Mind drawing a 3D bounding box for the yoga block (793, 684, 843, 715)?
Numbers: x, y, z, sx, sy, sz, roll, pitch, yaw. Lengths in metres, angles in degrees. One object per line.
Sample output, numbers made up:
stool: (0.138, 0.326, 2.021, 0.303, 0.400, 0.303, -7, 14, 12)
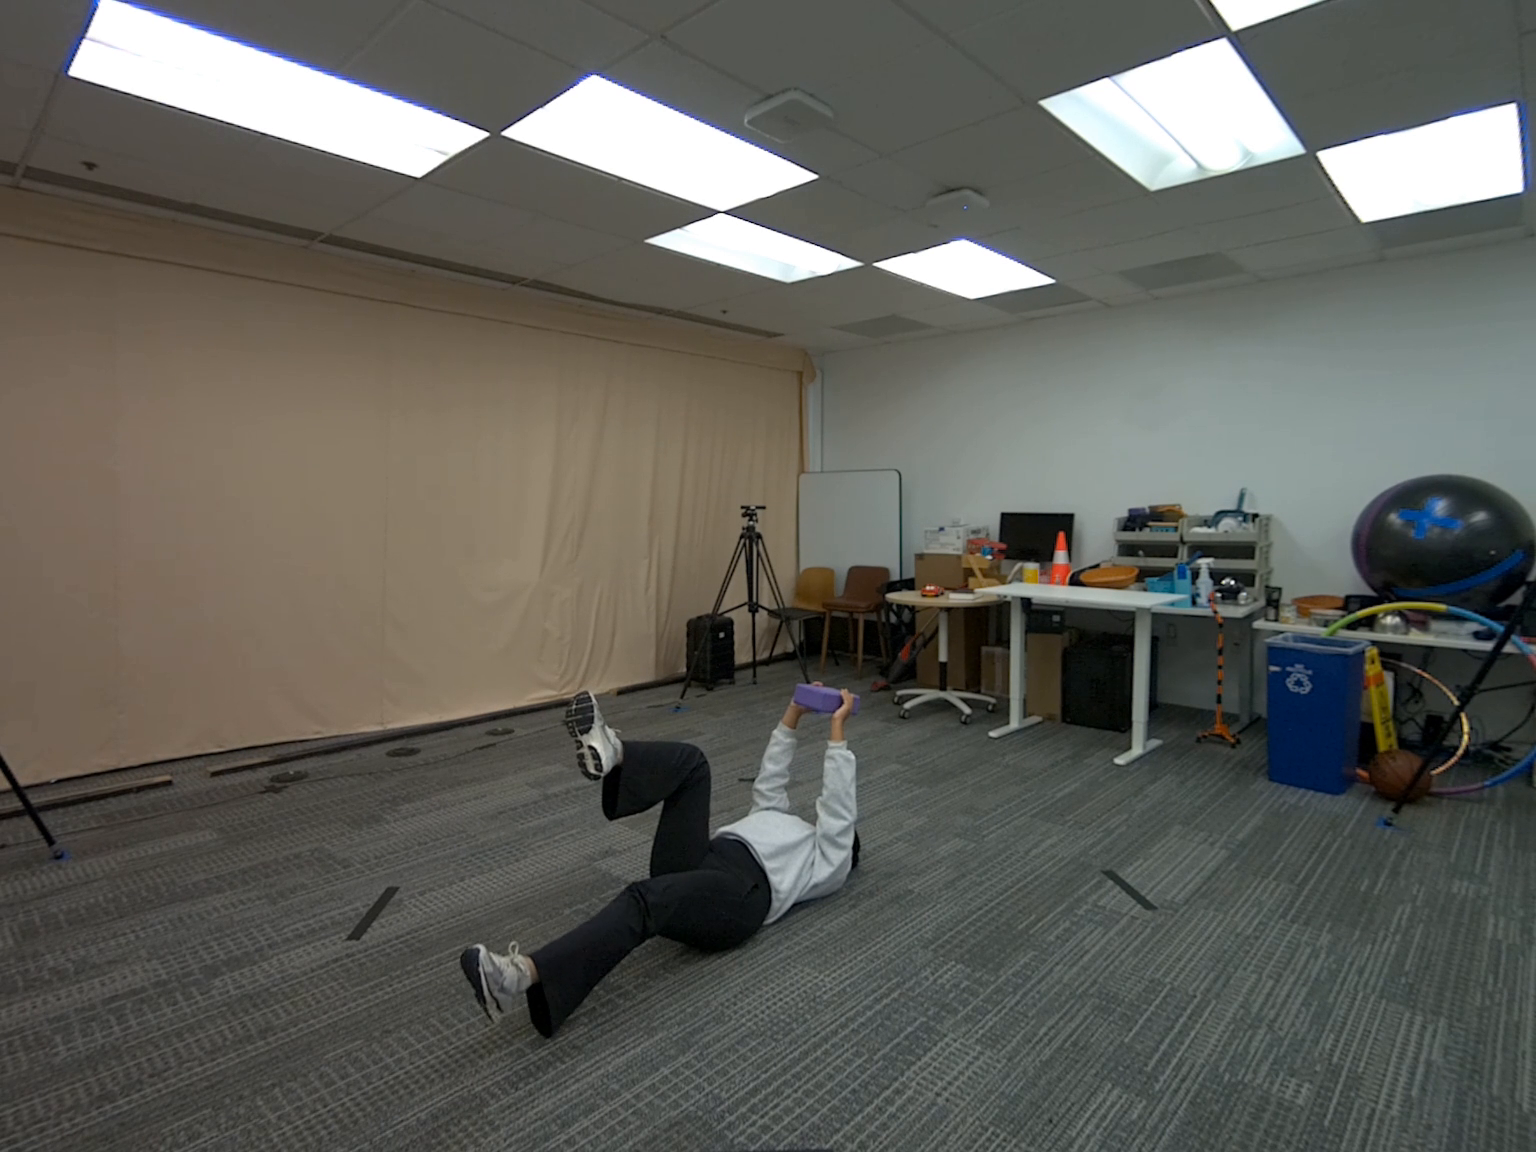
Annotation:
yoga block: (0.233, 0.472, 3.201, 0.154, 0.076, 0.221, 10, -3, 44)
